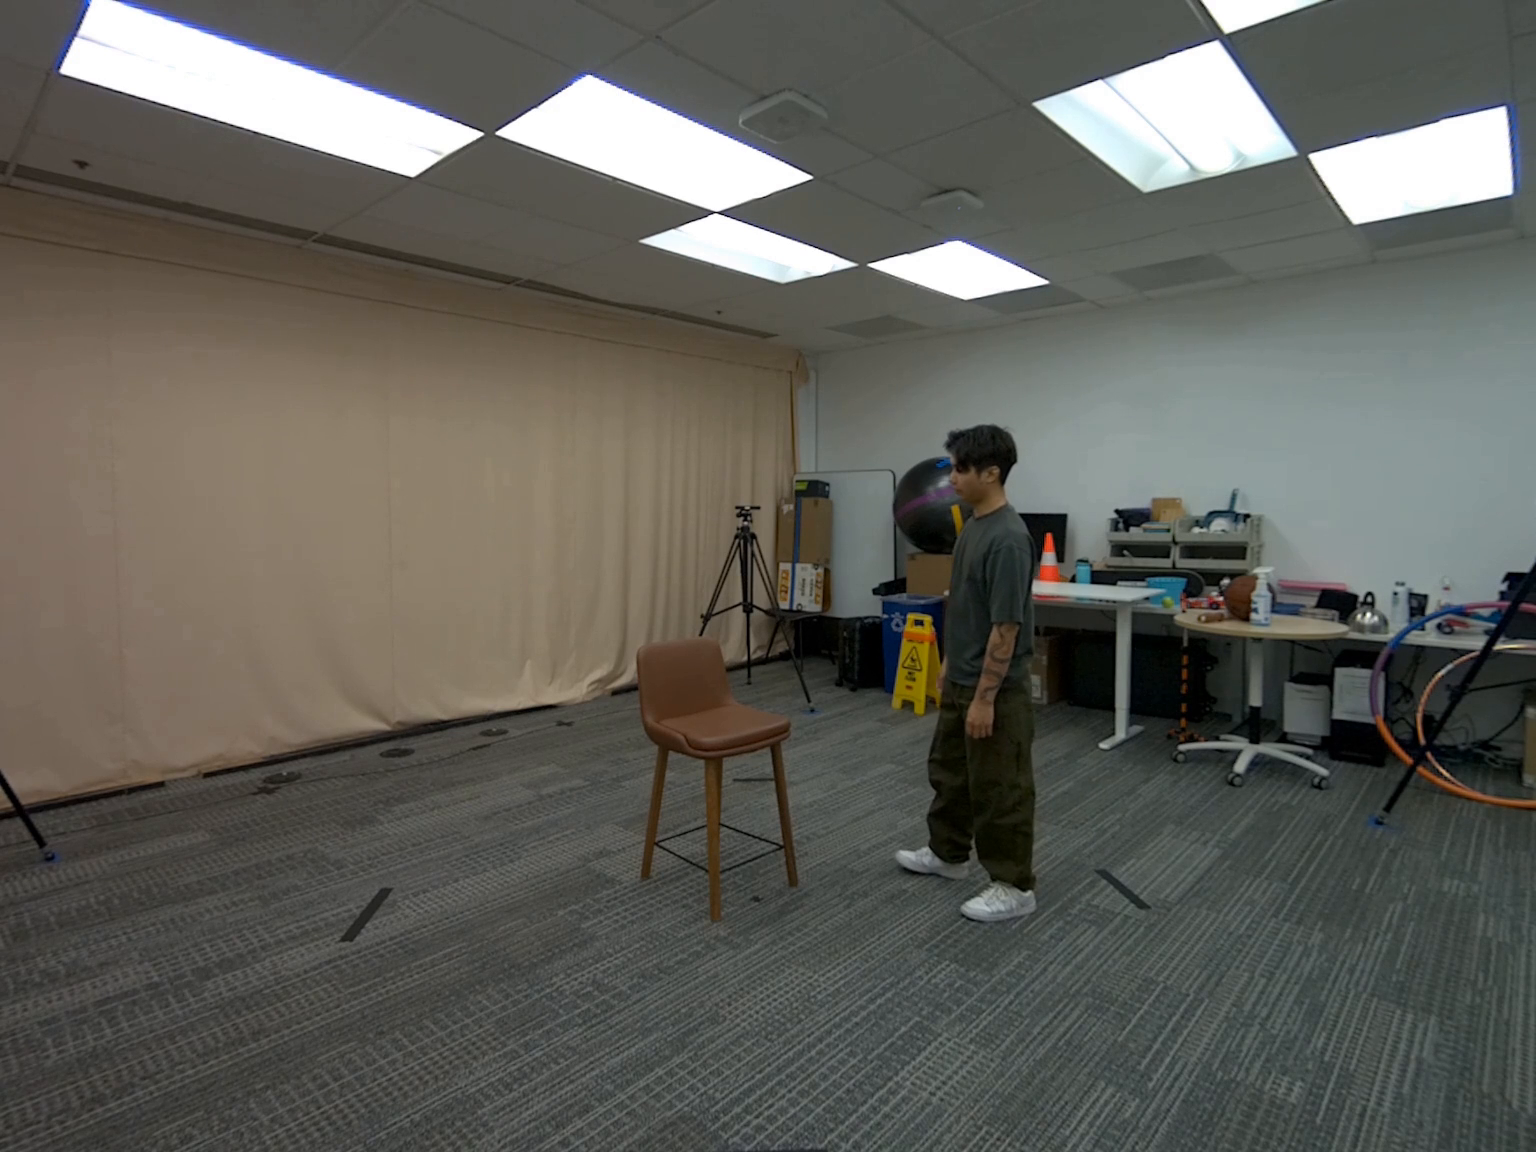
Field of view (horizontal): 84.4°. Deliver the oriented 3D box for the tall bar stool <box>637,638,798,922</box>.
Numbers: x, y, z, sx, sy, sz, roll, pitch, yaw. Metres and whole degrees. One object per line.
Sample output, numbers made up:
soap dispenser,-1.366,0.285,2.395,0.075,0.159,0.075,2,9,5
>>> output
tall bar stool,-0.193,0.703,3.100,0.442,0.889,0.483,-3,2,-43
